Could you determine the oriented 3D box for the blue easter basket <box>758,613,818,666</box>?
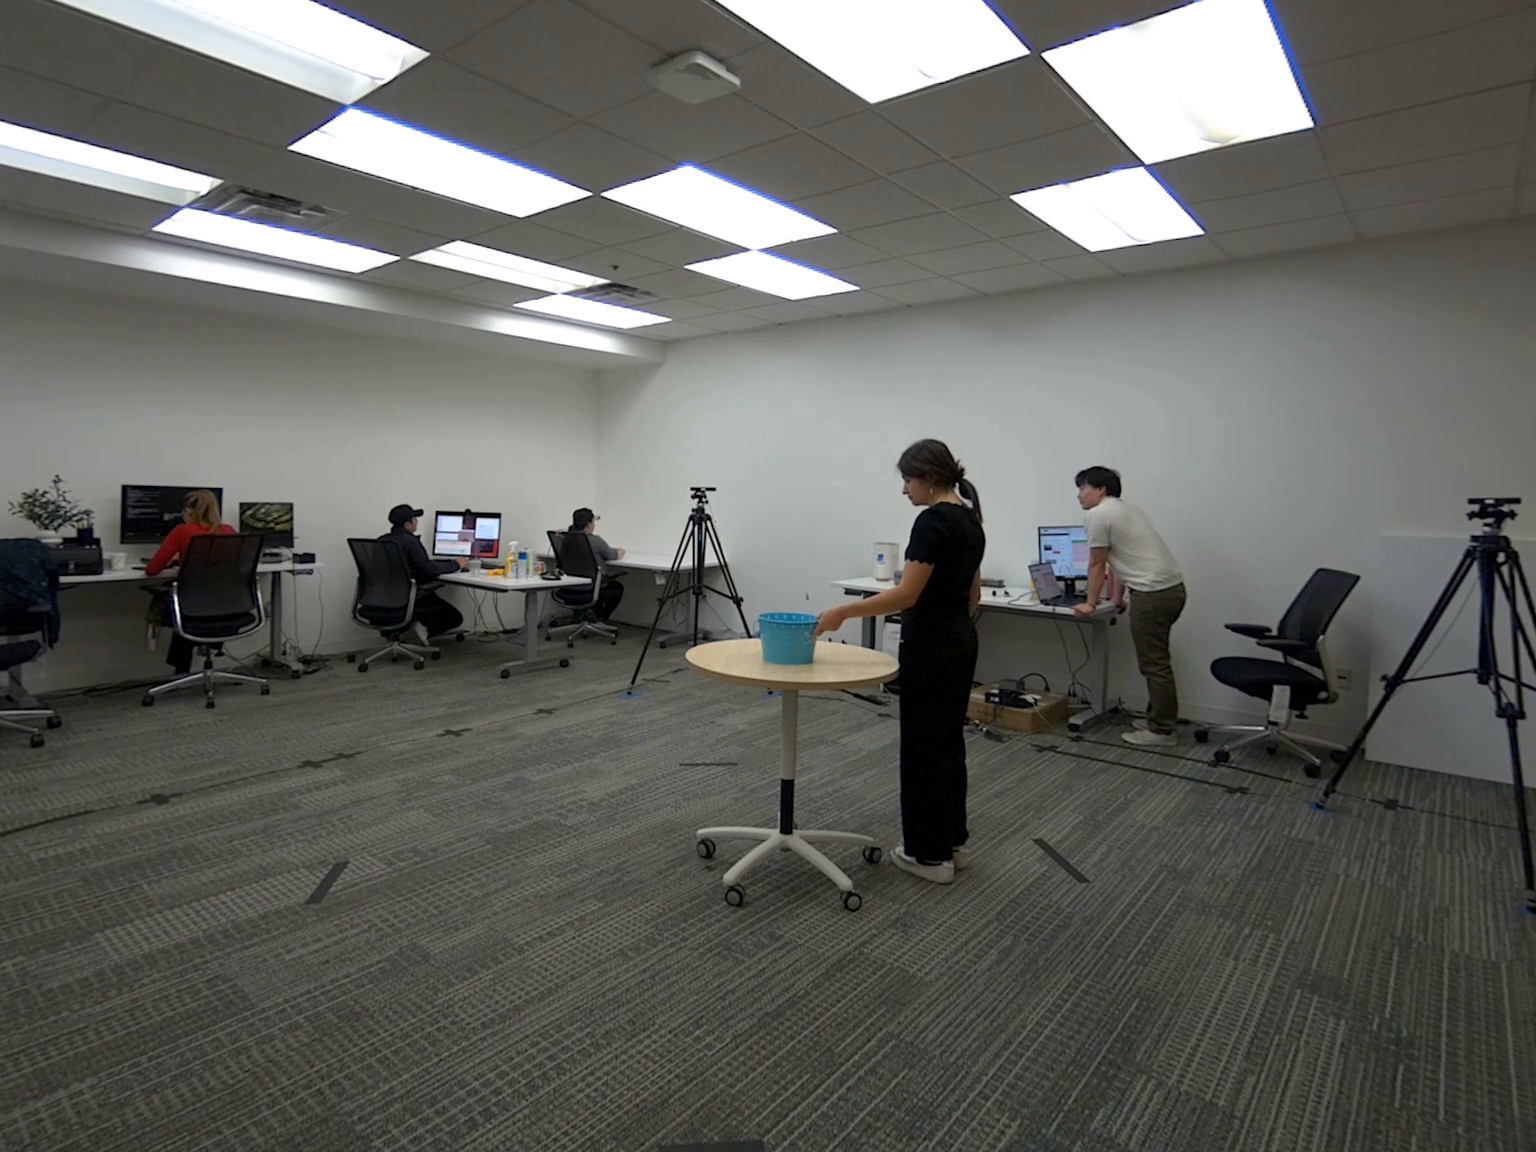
[{"bbox_3d":[0.070,0.222,3.041,0.243,0.155,0.245,2,5,-2],"label":"blue easter basket"}]
